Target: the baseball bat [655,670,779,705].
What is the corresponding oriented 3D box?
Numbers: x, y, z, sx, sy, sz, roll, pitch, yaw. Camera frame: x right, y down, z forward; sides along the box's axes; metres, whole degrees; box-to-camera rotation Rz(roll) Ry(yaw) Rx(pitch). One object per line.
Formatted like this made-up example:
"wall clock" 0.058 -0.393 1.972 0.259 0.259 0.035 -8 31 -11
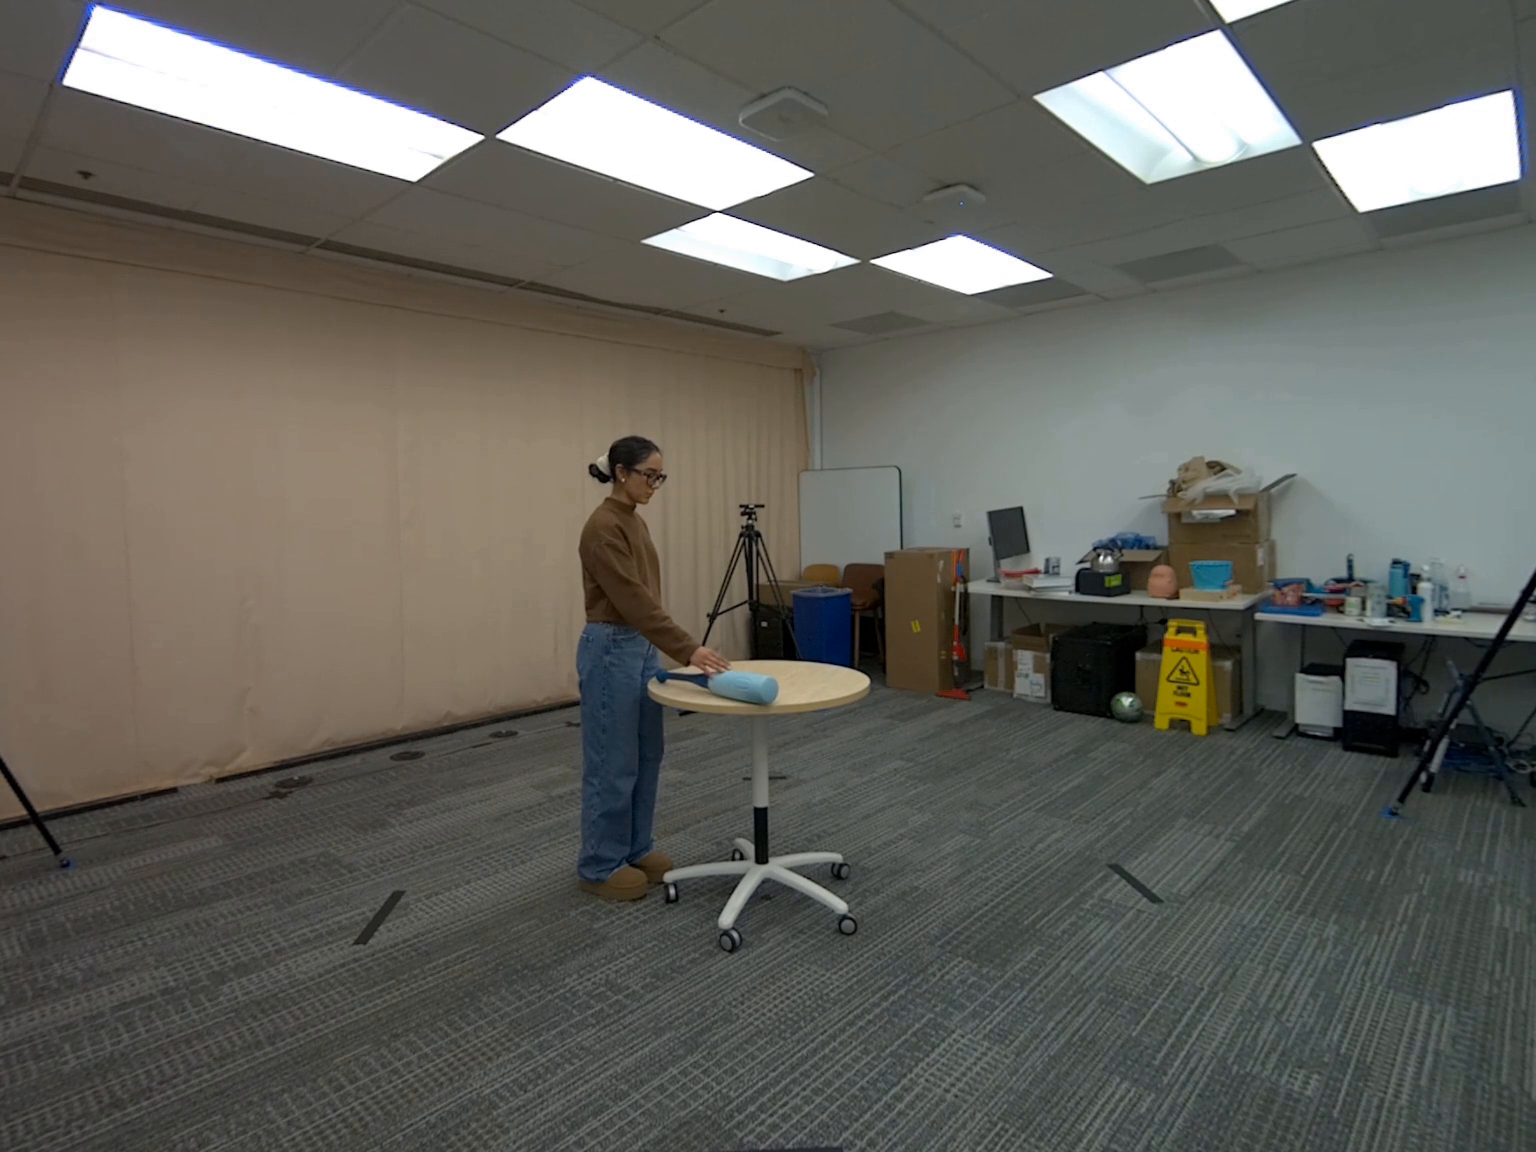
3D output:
"baseball bat" -0.181 0.348 2.724 0.086 0.089 0.560 -4 3 -44
